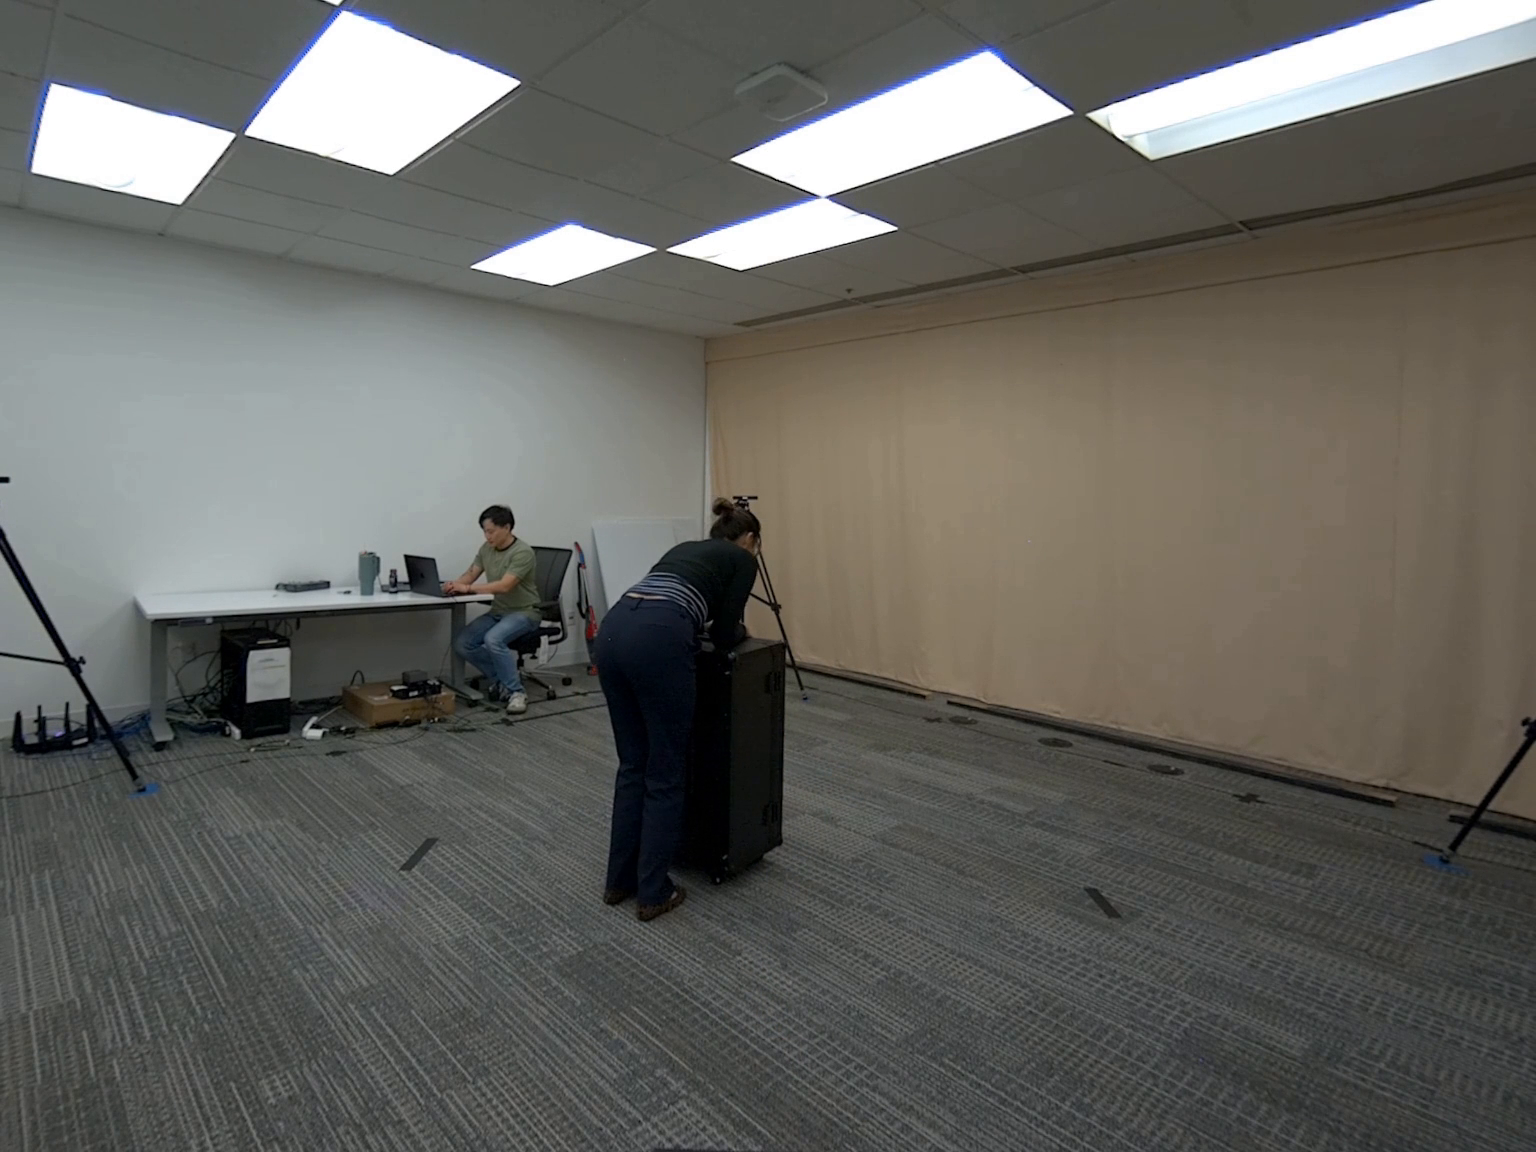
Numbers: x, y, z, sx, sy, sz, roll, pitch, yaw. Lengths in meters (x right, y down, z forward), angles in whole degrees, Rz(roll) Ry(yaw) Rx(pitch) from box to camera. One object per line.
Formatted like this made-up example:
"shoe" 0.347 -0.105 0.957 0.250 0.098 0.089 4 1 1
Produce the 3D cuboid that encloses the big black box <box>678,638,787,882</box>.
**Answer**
"big black box" -0.239 0.670 3.185 0.534 0.858 0.388 4 6 35
